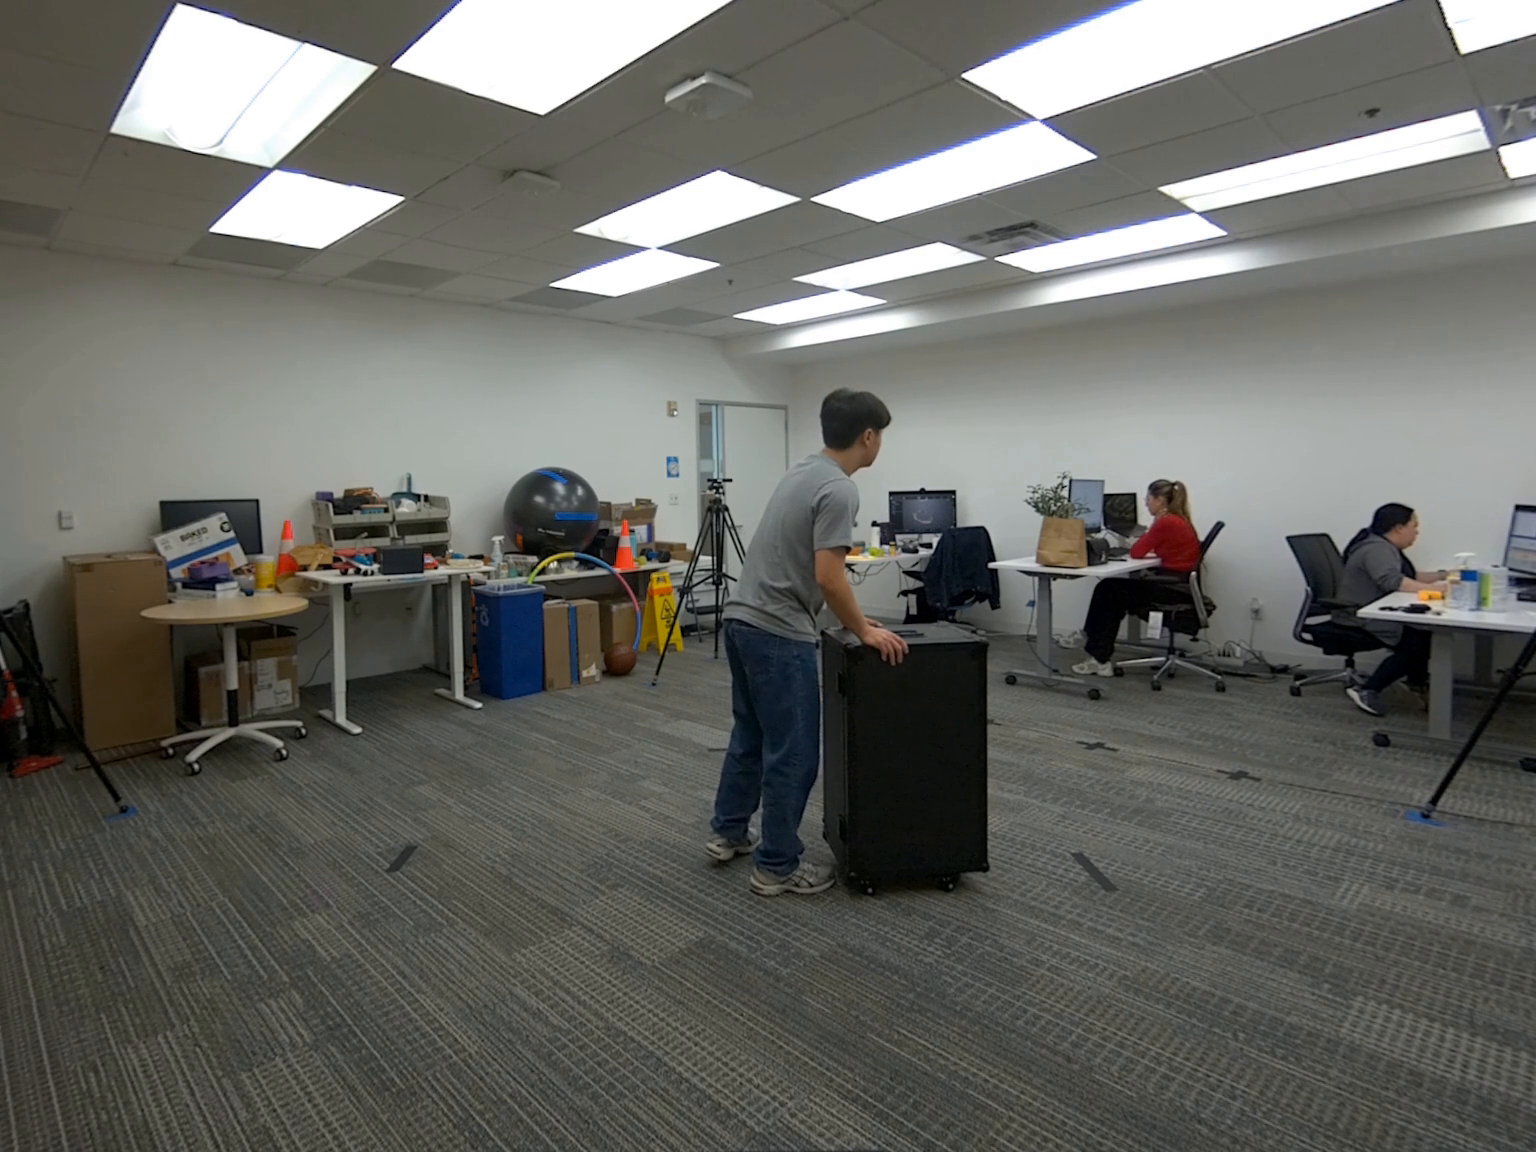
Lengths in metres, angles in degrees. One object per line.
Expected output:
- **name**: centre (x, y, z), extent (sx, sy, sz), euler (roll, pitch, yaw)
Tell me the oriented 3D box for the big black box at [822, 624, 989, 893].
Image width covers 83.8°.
- **big black box**: centre (0.464, 0.617, 2.995), extent (0.518, 0.859, 0.400), euler (-1, 3, -7)
